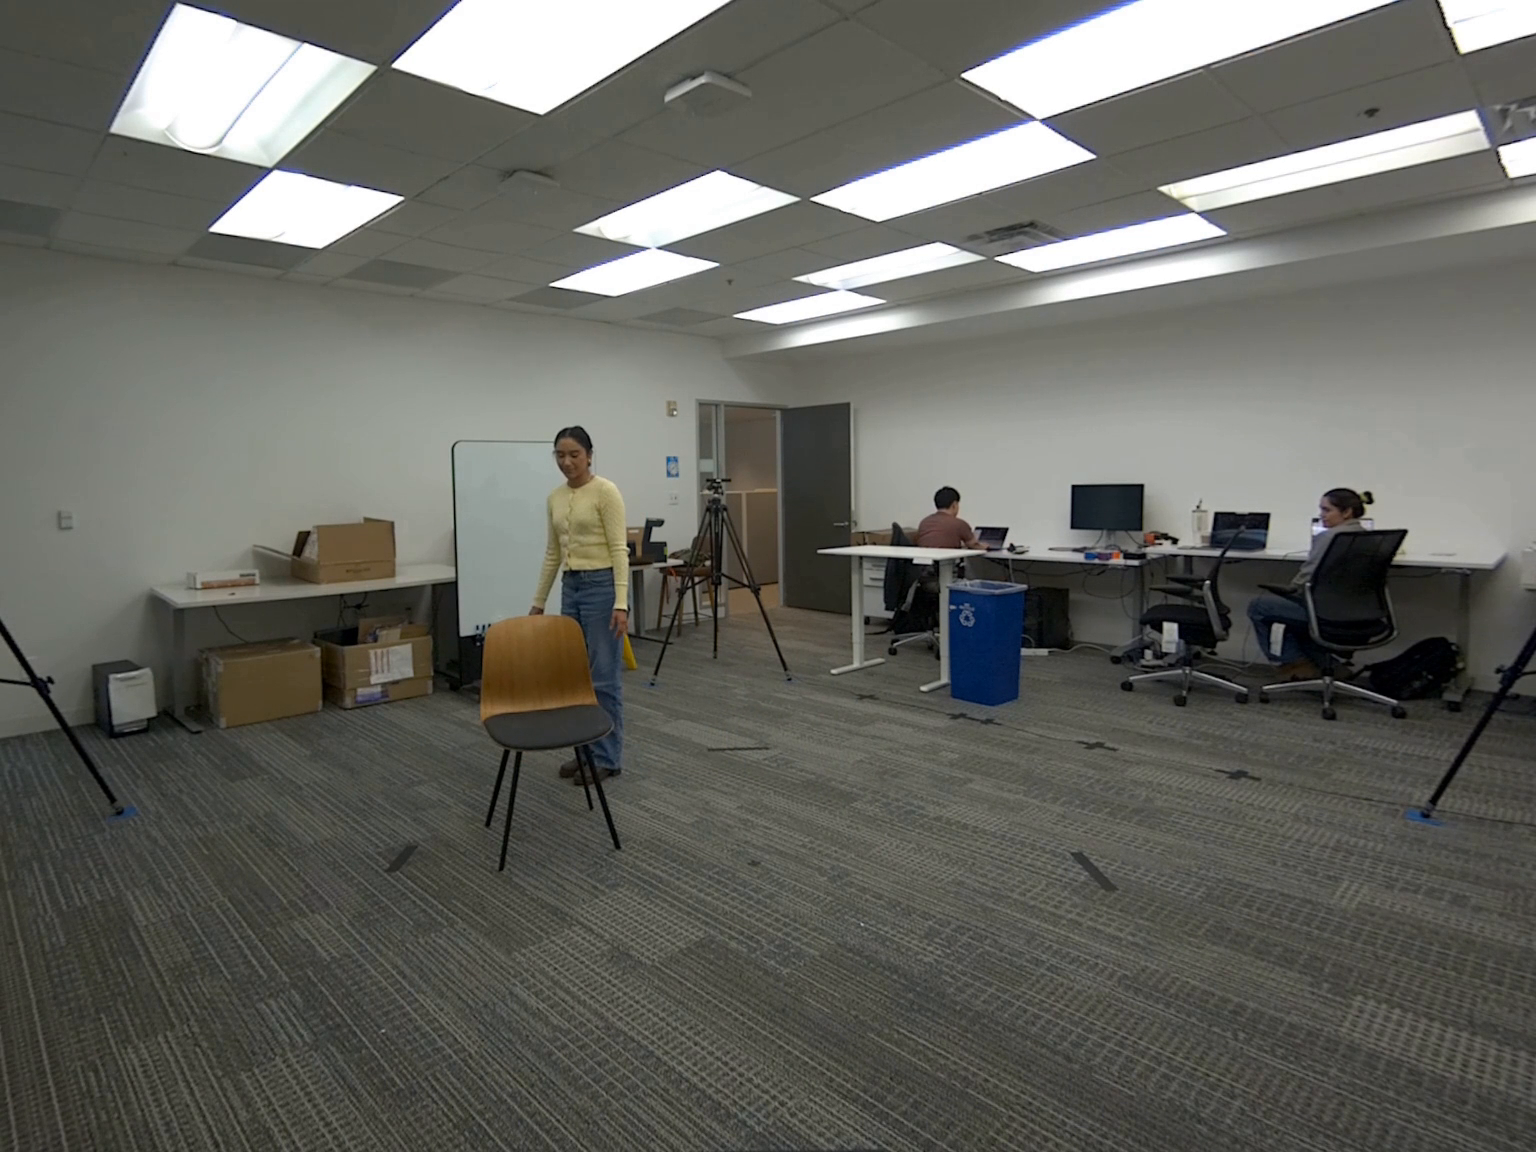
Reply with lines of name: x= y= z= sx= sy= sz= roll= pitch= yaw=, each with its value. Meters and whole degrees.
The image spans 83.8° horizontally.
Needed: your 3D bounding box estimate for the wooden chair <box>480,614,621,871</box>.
wooden chair: x=-0.859 y=0.610 z=3.326 sx=0.468 sy=0.878 sz=0.533 roll=-2 pitch=0 yaw=-24
